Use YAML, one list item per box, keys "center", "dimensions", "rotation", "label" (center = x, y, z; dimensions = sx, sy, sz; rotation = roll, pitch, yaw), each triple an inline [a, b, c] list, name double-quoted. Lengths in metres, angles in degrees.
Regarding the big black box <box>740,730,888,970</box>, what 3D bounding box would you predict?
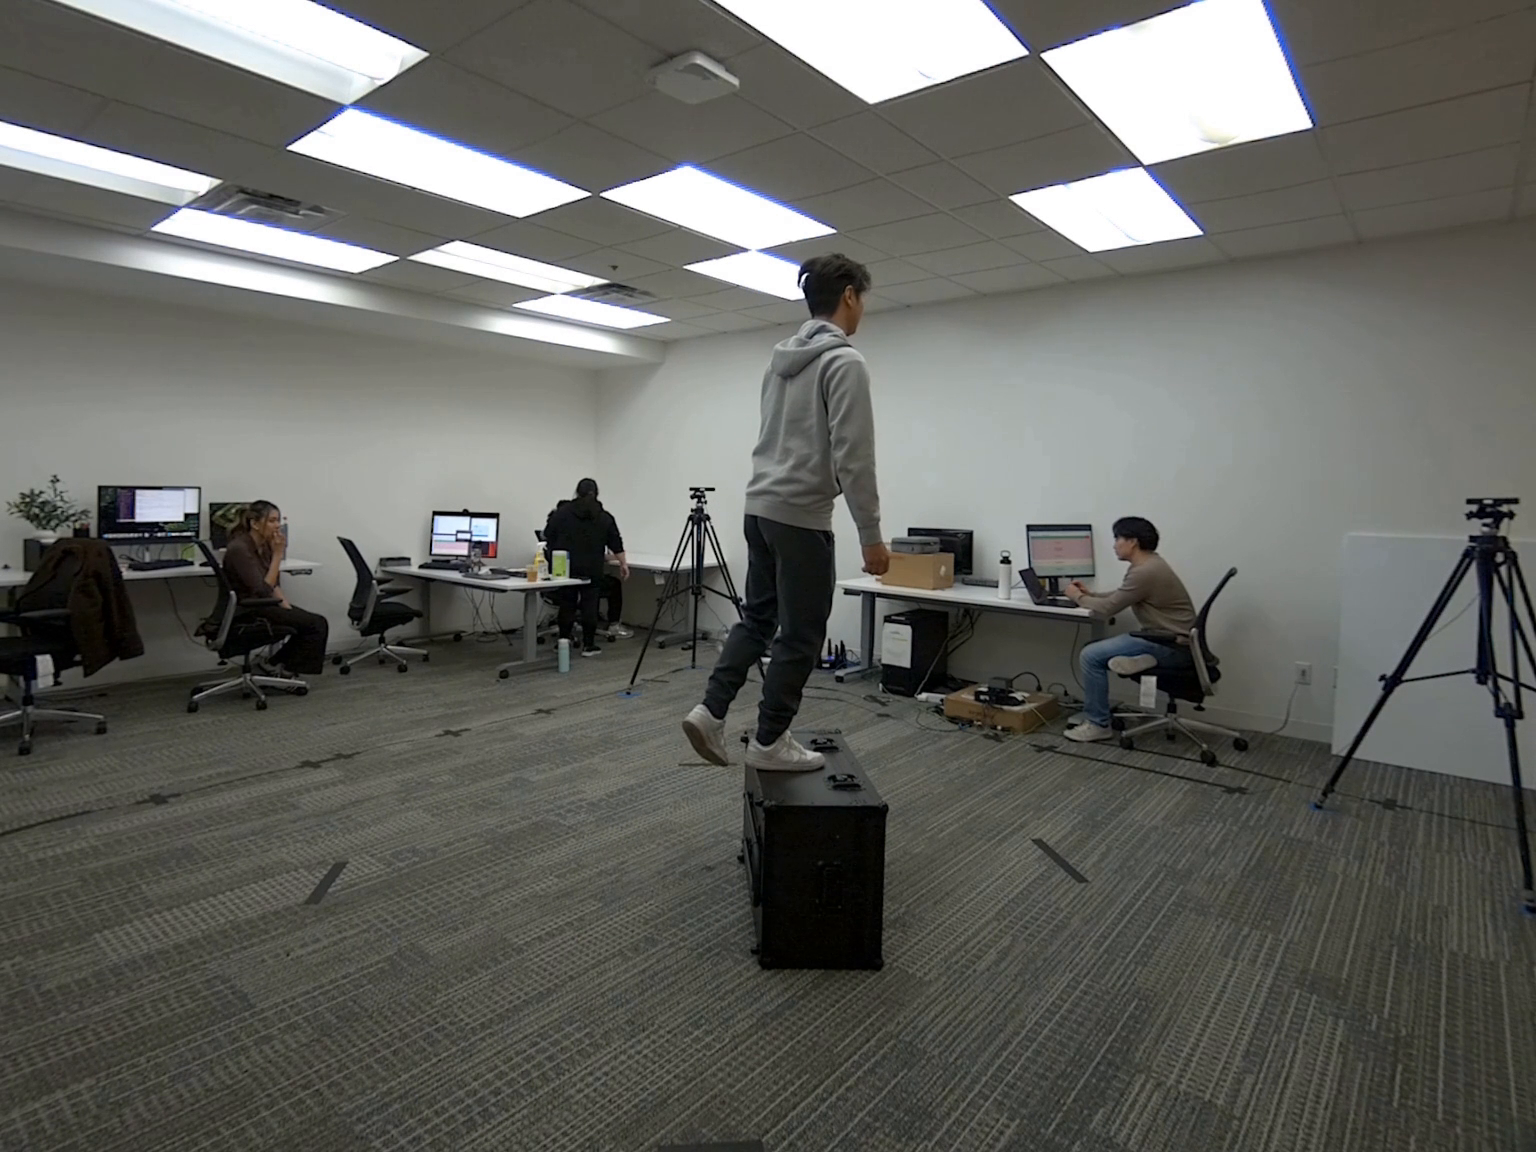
- center: [0.101, 0.855, 2.871]
  dimensions: [0.395, 0.519, 0.868]
  rotation: [1, 5, -4]
  label: "big black box"
